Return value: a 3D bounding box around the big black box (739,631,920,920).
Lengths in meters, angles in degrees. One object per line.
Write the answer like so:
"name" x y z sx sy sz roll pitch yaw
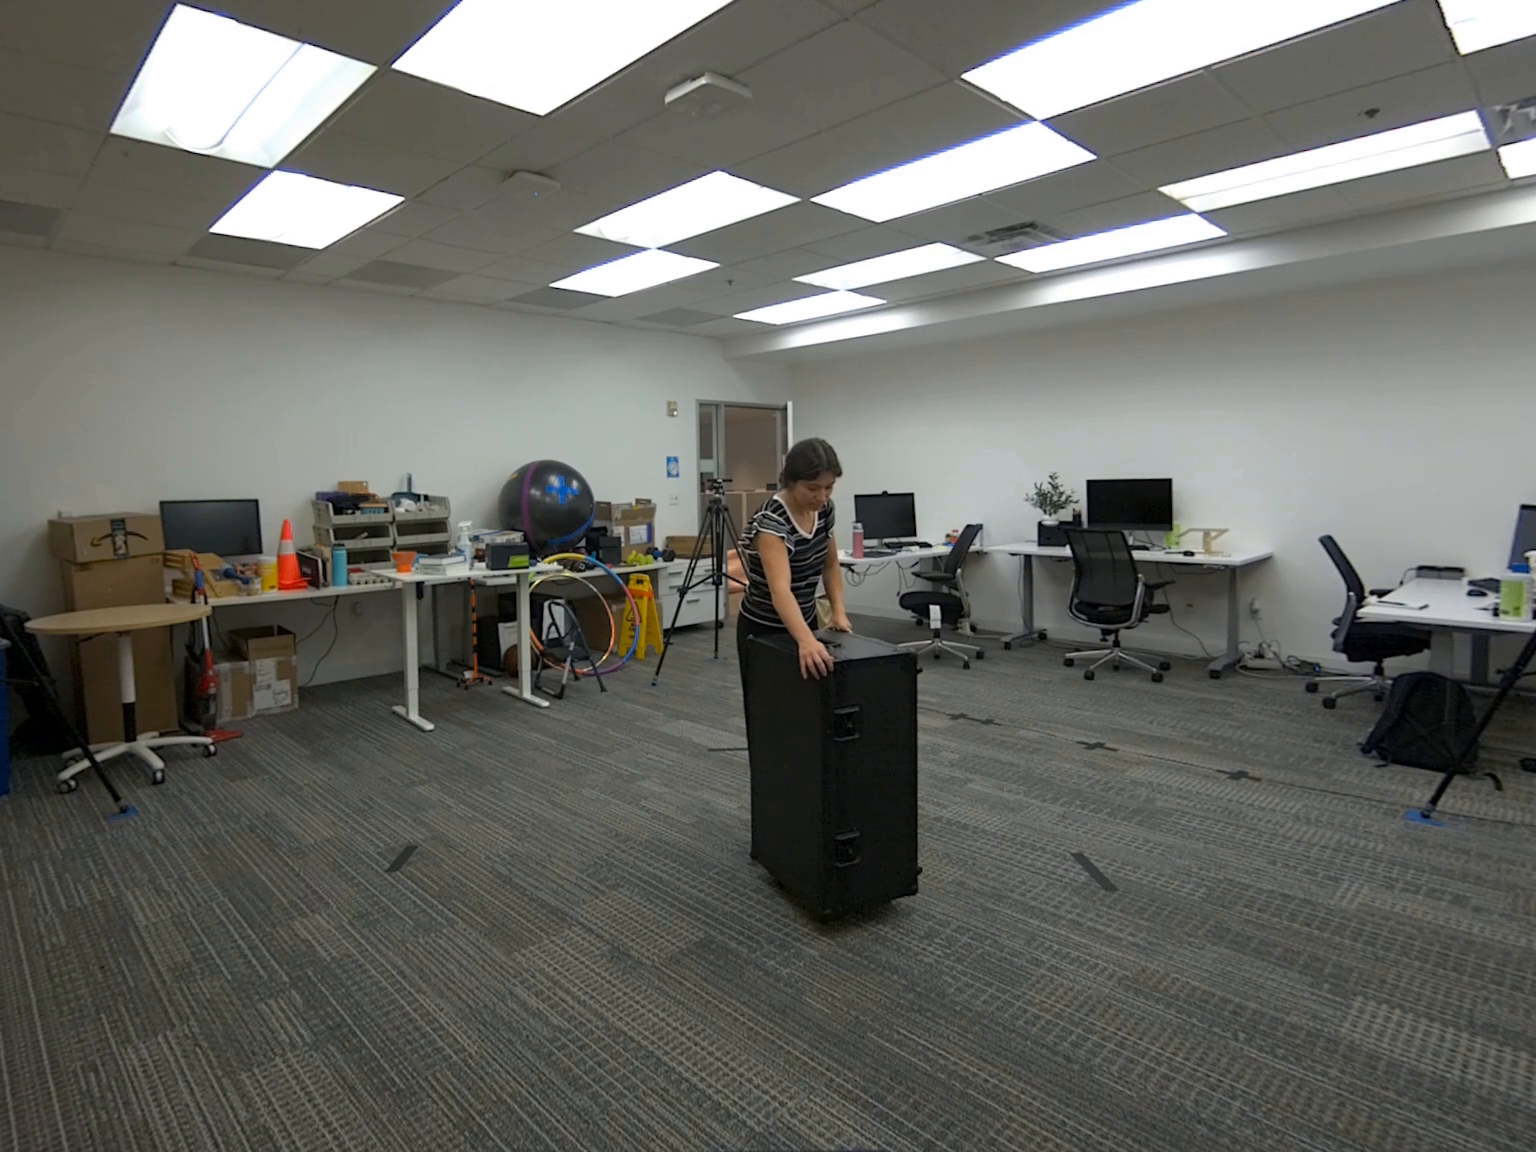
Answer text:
"big black box" 0.218 0.649 2.831 0.388 0.859 0.534 -2 4 -26
